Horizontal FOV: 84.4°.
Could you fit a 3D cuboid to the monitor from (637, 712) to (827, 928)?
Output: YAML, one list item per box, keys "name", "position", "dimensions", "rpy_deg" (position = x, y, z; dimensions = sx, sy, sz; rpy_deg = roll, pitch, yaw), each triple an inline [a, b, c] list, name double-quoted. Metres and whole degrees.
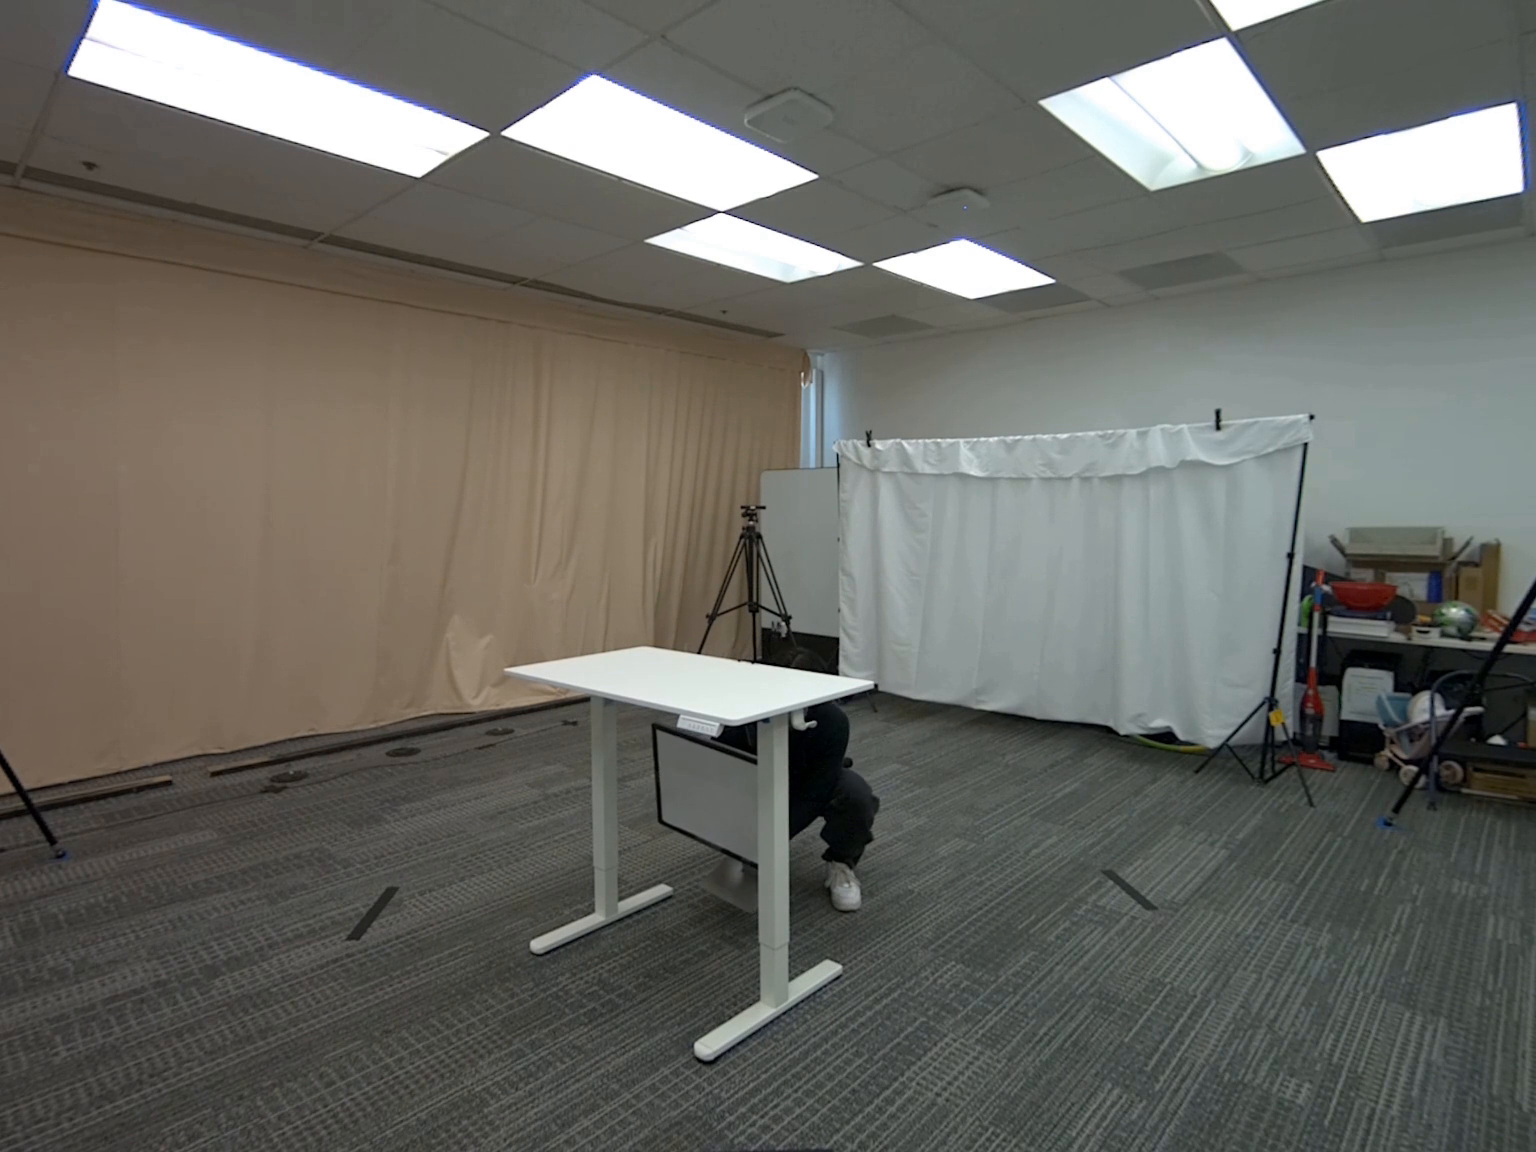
- name: "monitor"
  position: [-0.118, 0.762, 2.714]
  dimensions: [0.548, 0.507, 0.172]
  rpy_deg: [10, 32, 42]
